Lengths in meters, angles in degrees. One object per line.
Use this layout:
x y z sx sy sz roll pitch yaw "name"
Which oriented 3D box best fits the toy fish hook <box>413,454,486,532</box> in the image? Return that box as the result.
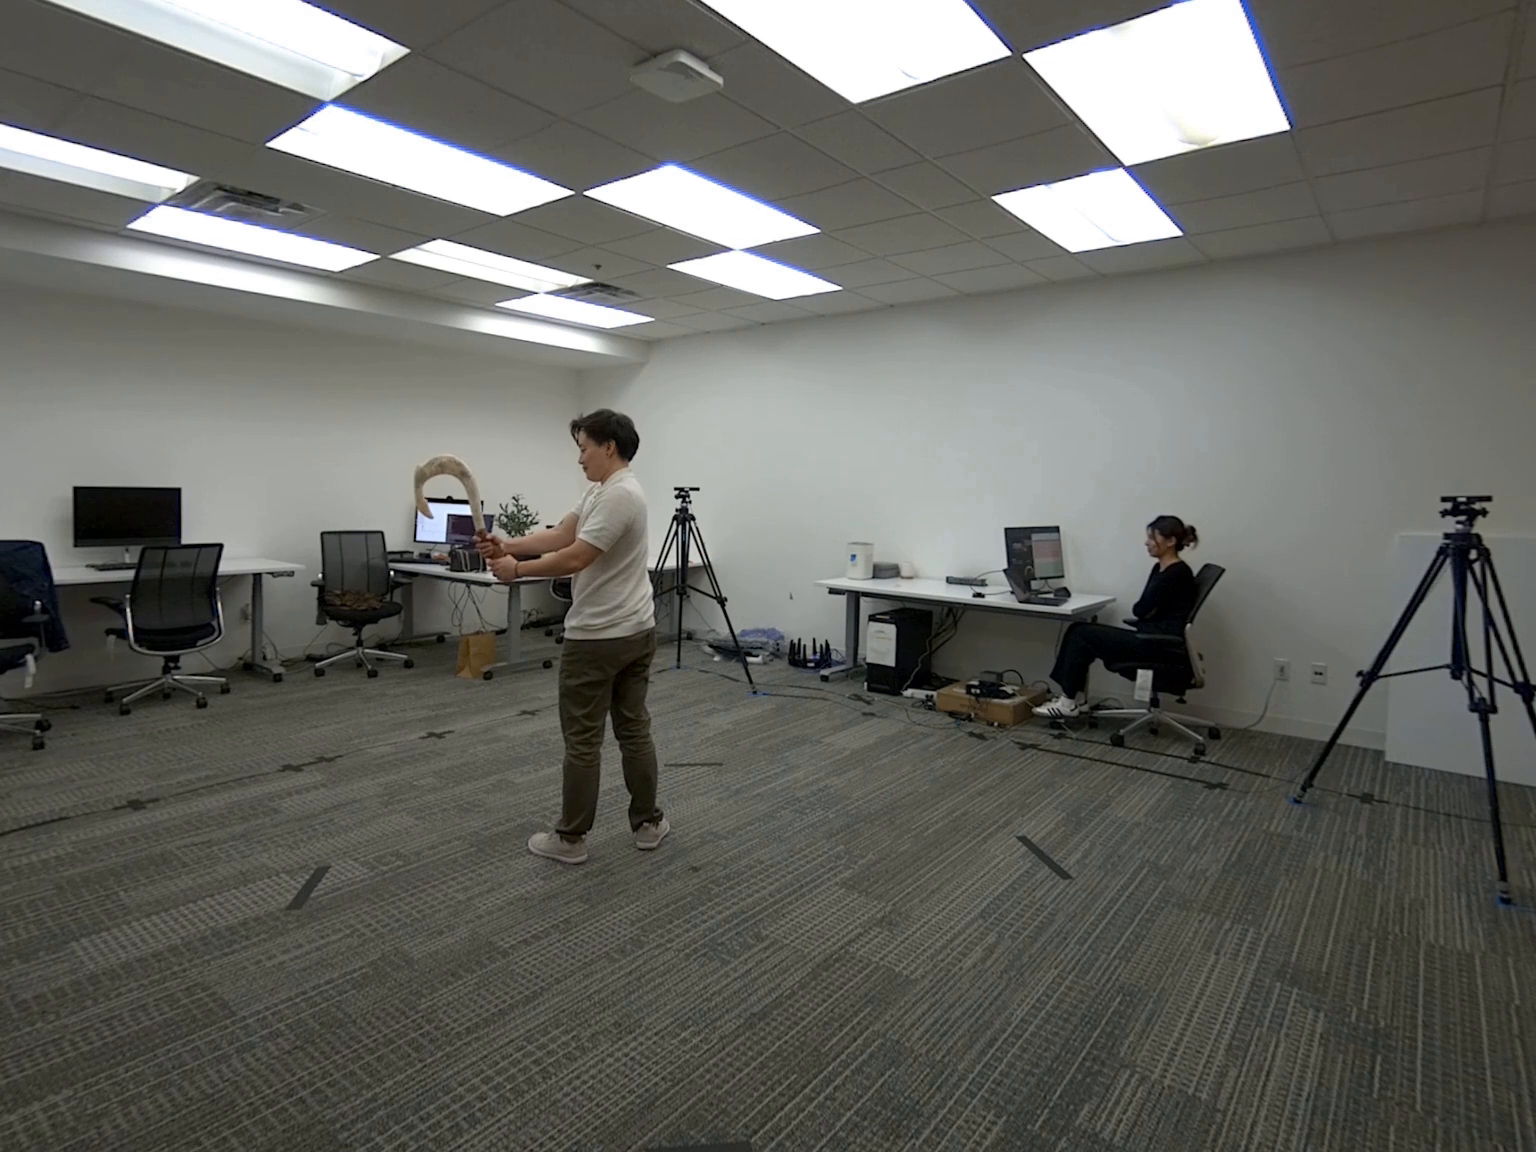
-1.122 -0.190 3.079 0.224 0.505 0.048 -26 2 -5 "toy fish hook"
